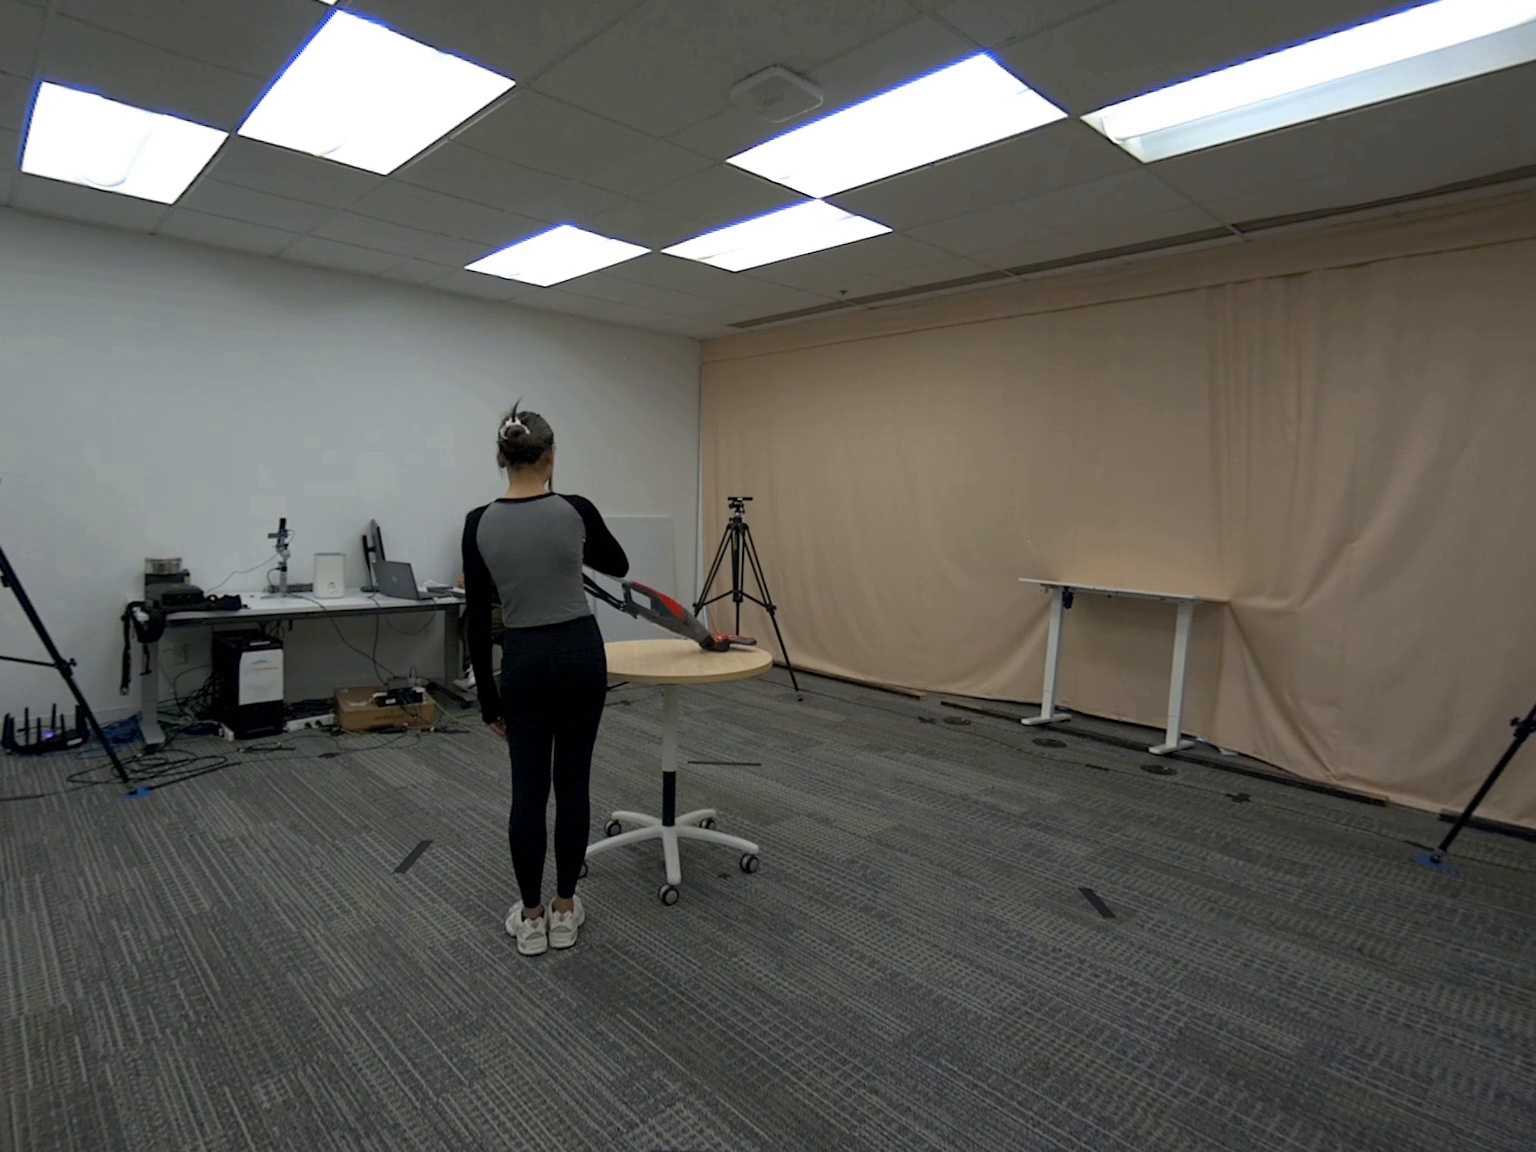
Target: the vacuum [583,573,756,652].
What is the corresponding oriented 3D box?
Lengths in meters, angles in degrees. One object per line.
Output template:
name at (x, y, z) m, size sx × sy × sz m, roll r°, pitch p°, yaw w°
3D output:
vacuum at (-0.514, 0.077, 3.043) m, size 0.259 × 0.145 × 1.017 m, roll 5°, pitch -19°, yaw 46°
